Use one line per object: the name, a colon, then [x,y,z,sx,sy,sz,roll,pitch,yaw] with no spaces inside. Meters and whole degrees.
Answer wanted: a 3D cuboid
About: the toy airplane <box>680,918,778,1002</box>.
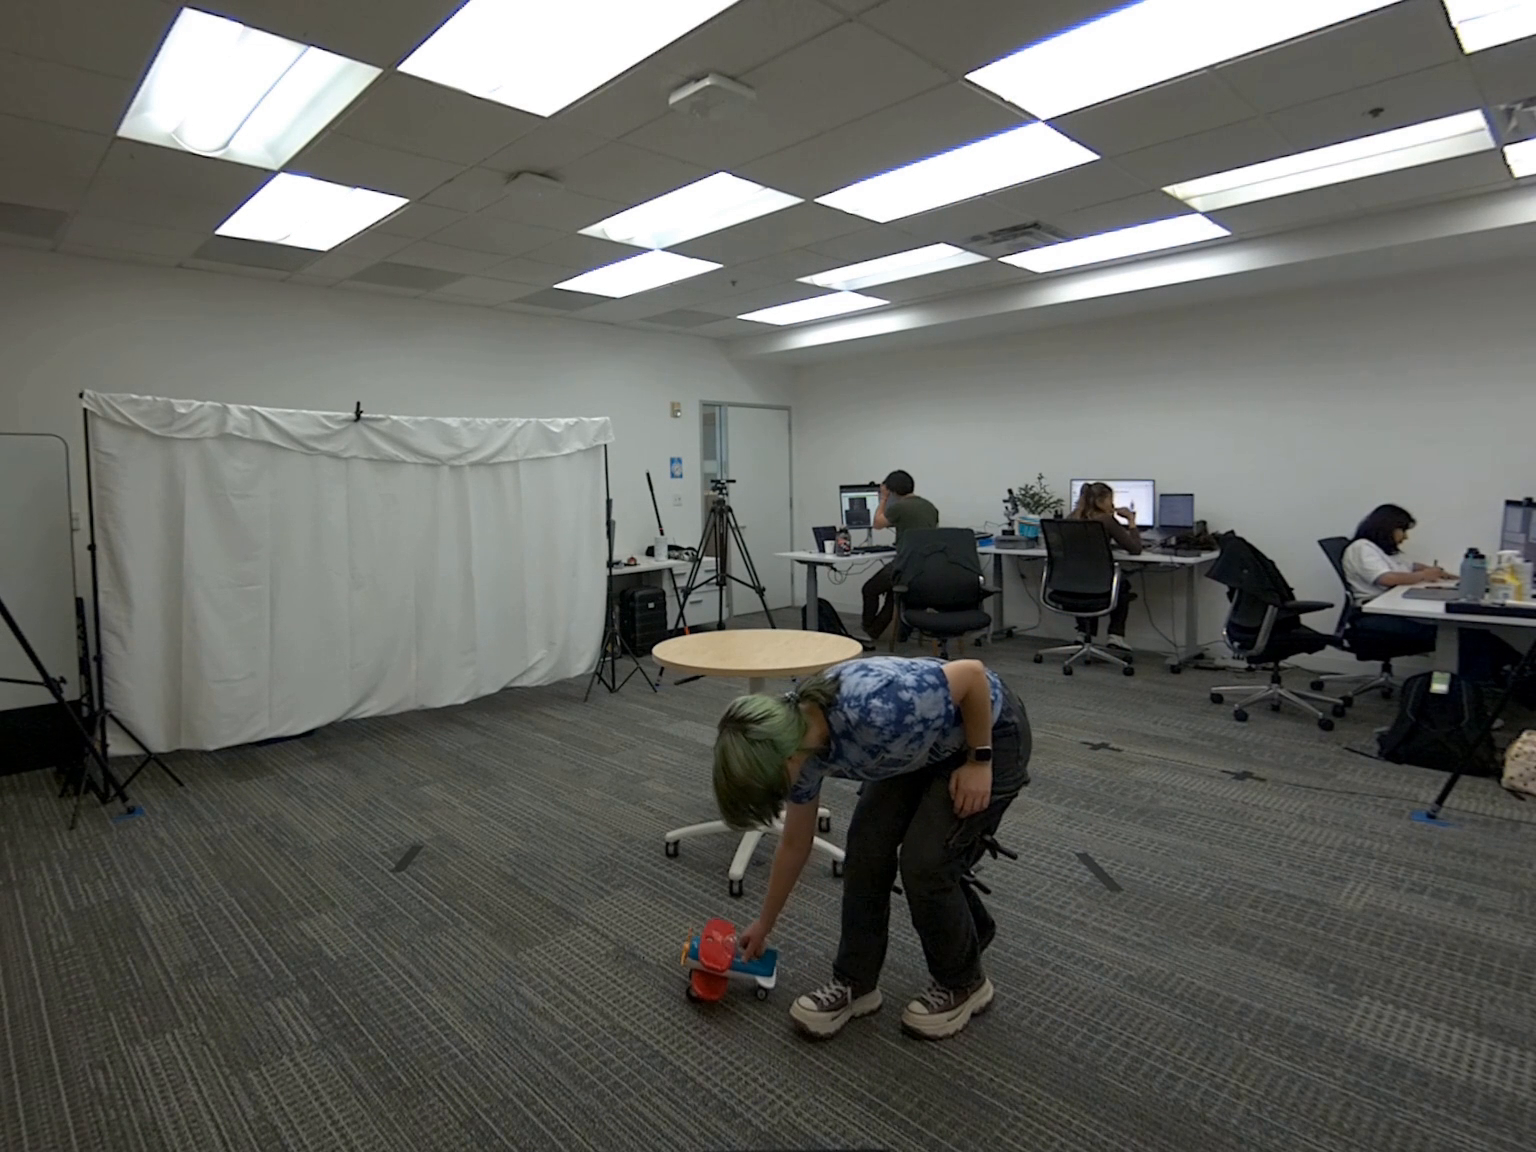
toy airplane: [-0.104,1.066,2.345,0.254,0.156,0.257,-3,5,-23]
